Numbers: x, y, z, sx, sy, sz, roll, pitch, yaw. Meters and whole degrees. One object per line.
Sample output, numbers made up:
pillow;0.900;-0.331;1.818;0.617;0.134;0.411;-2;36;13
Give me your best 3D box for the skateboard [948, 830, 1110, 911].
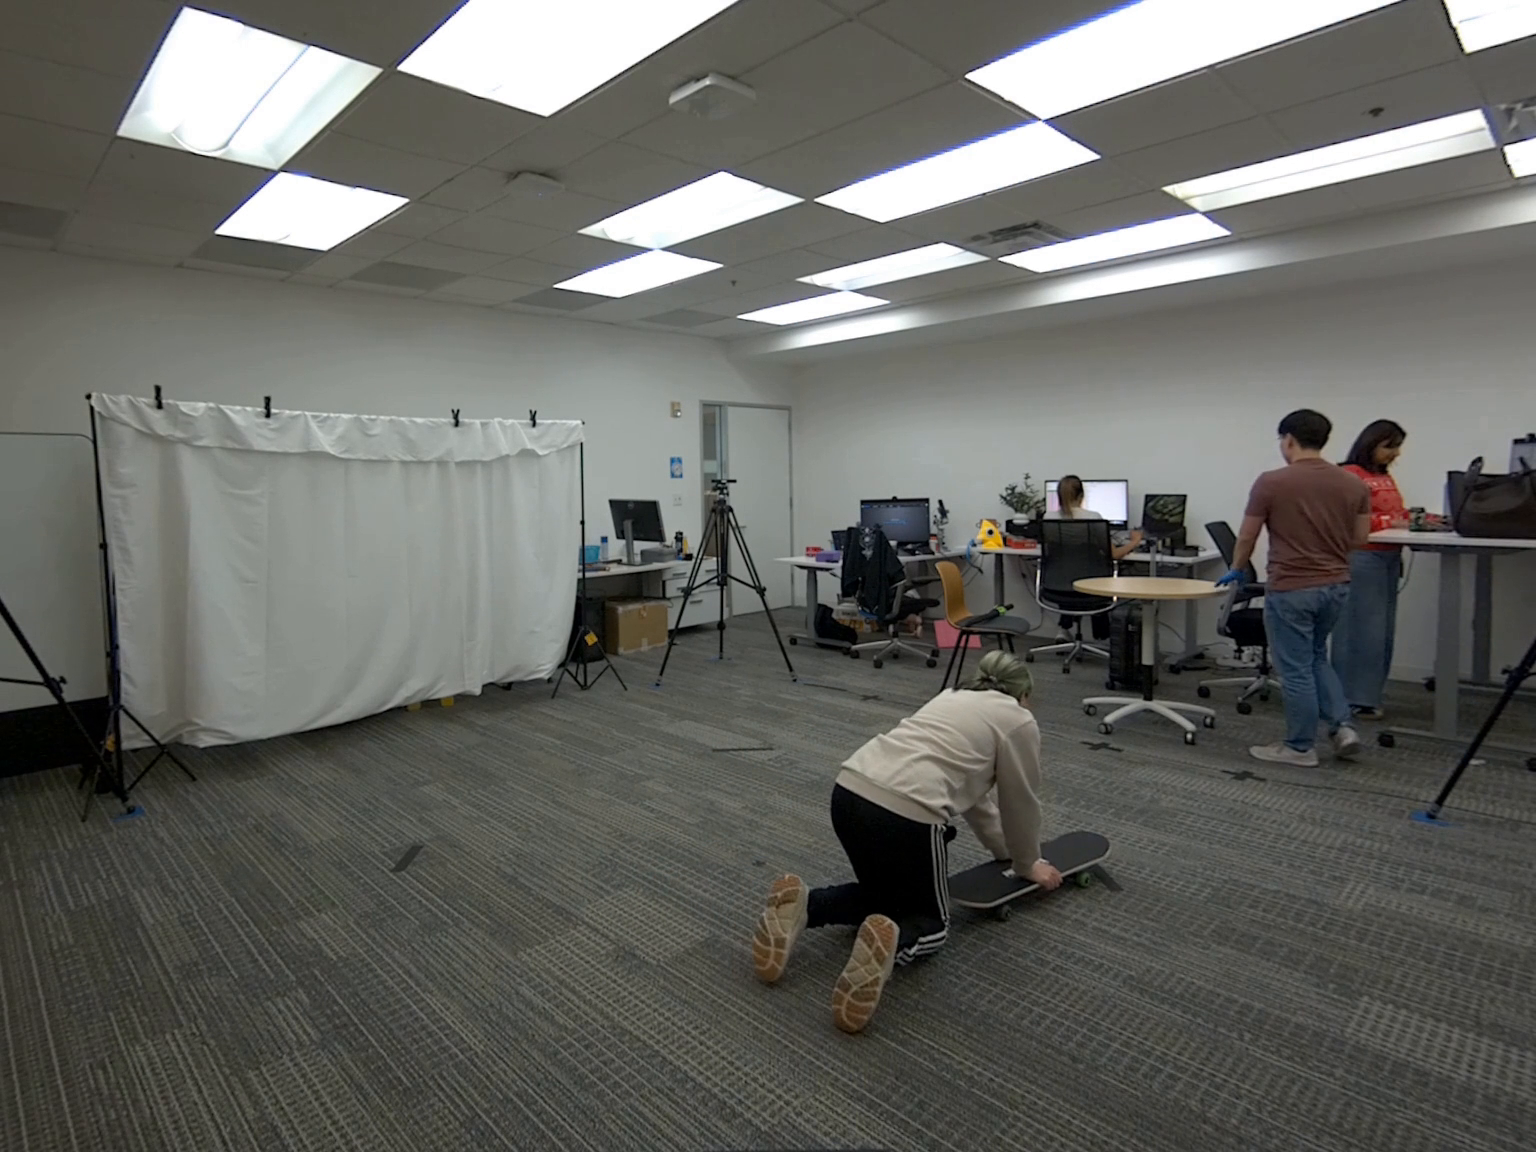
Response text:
skateboard;0.864;1.009;2.844;0.766;0.110;0.199;-6;8;-33
